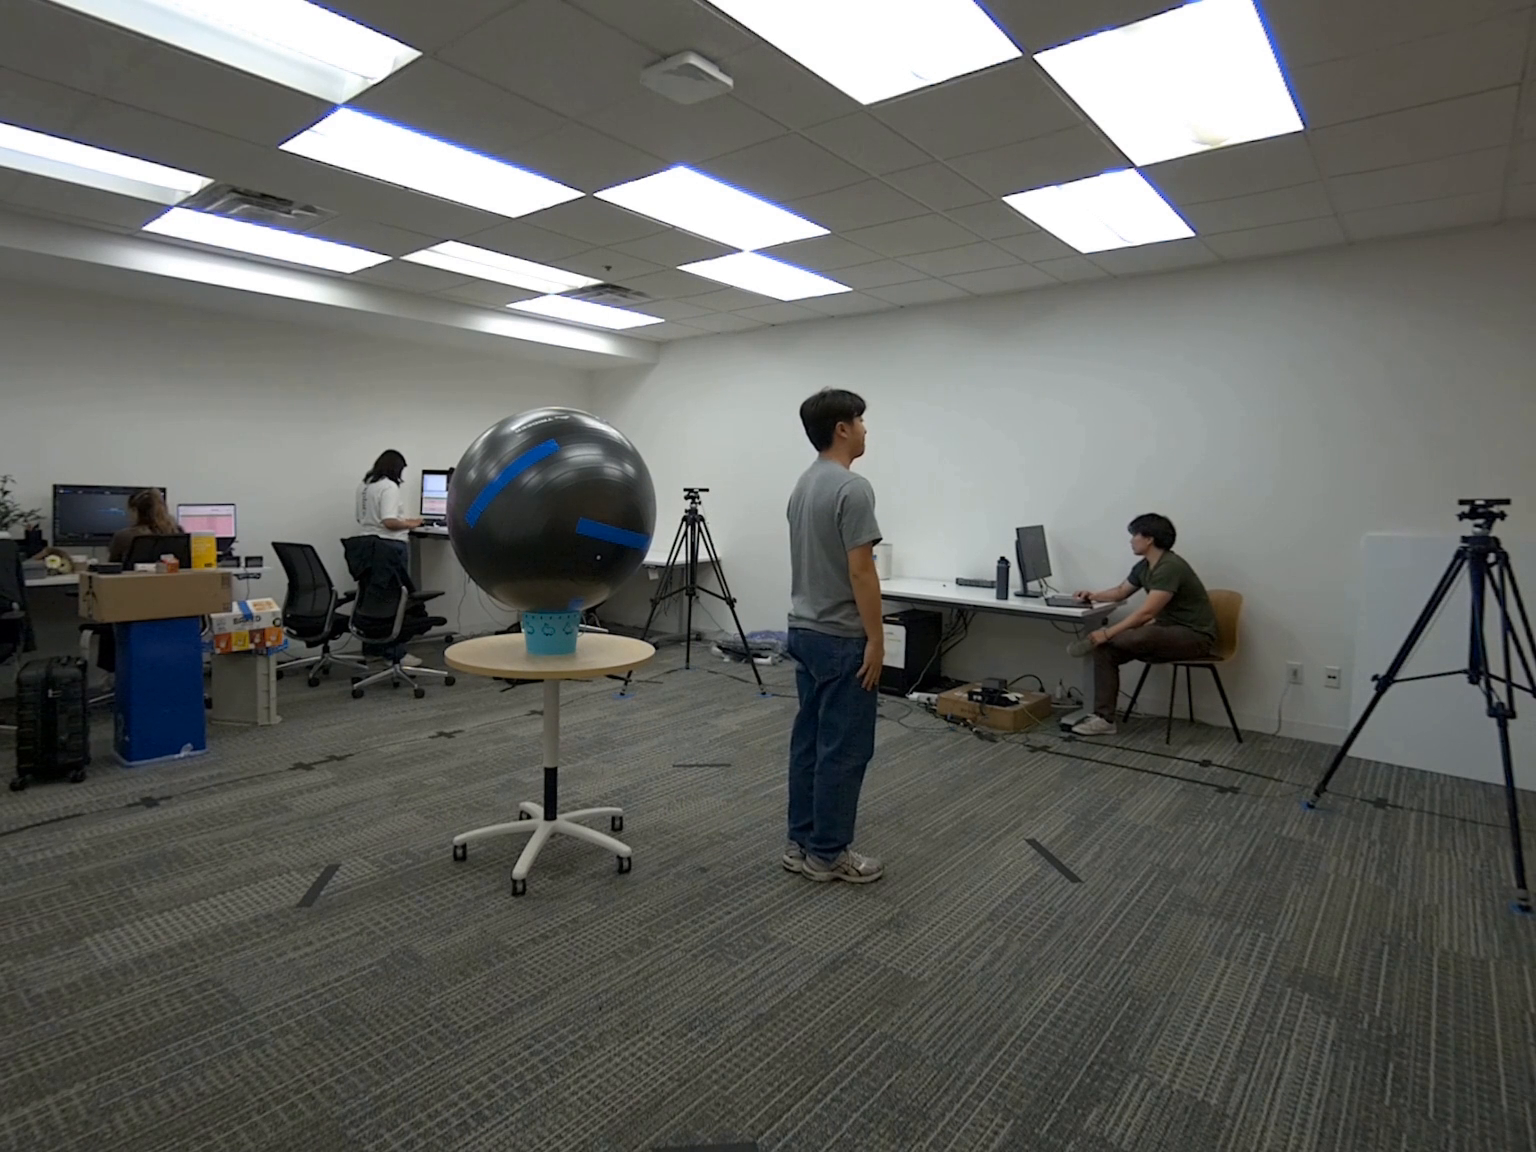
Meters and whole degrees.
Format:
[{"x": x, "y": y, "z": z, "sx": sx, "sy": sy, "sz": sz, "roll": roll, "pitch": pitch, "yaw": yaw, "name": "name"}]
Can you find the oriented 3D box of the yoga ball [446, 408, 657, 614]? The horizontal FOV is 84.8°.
[{"x": -0.812, "y": -0.237, "z": 3.134, "sx": 0.757, "sy": 0.755, "sz": 0.762, "roll": 1, "pitch": 4, "yaw": -2, "name": "yoga ball"}]
